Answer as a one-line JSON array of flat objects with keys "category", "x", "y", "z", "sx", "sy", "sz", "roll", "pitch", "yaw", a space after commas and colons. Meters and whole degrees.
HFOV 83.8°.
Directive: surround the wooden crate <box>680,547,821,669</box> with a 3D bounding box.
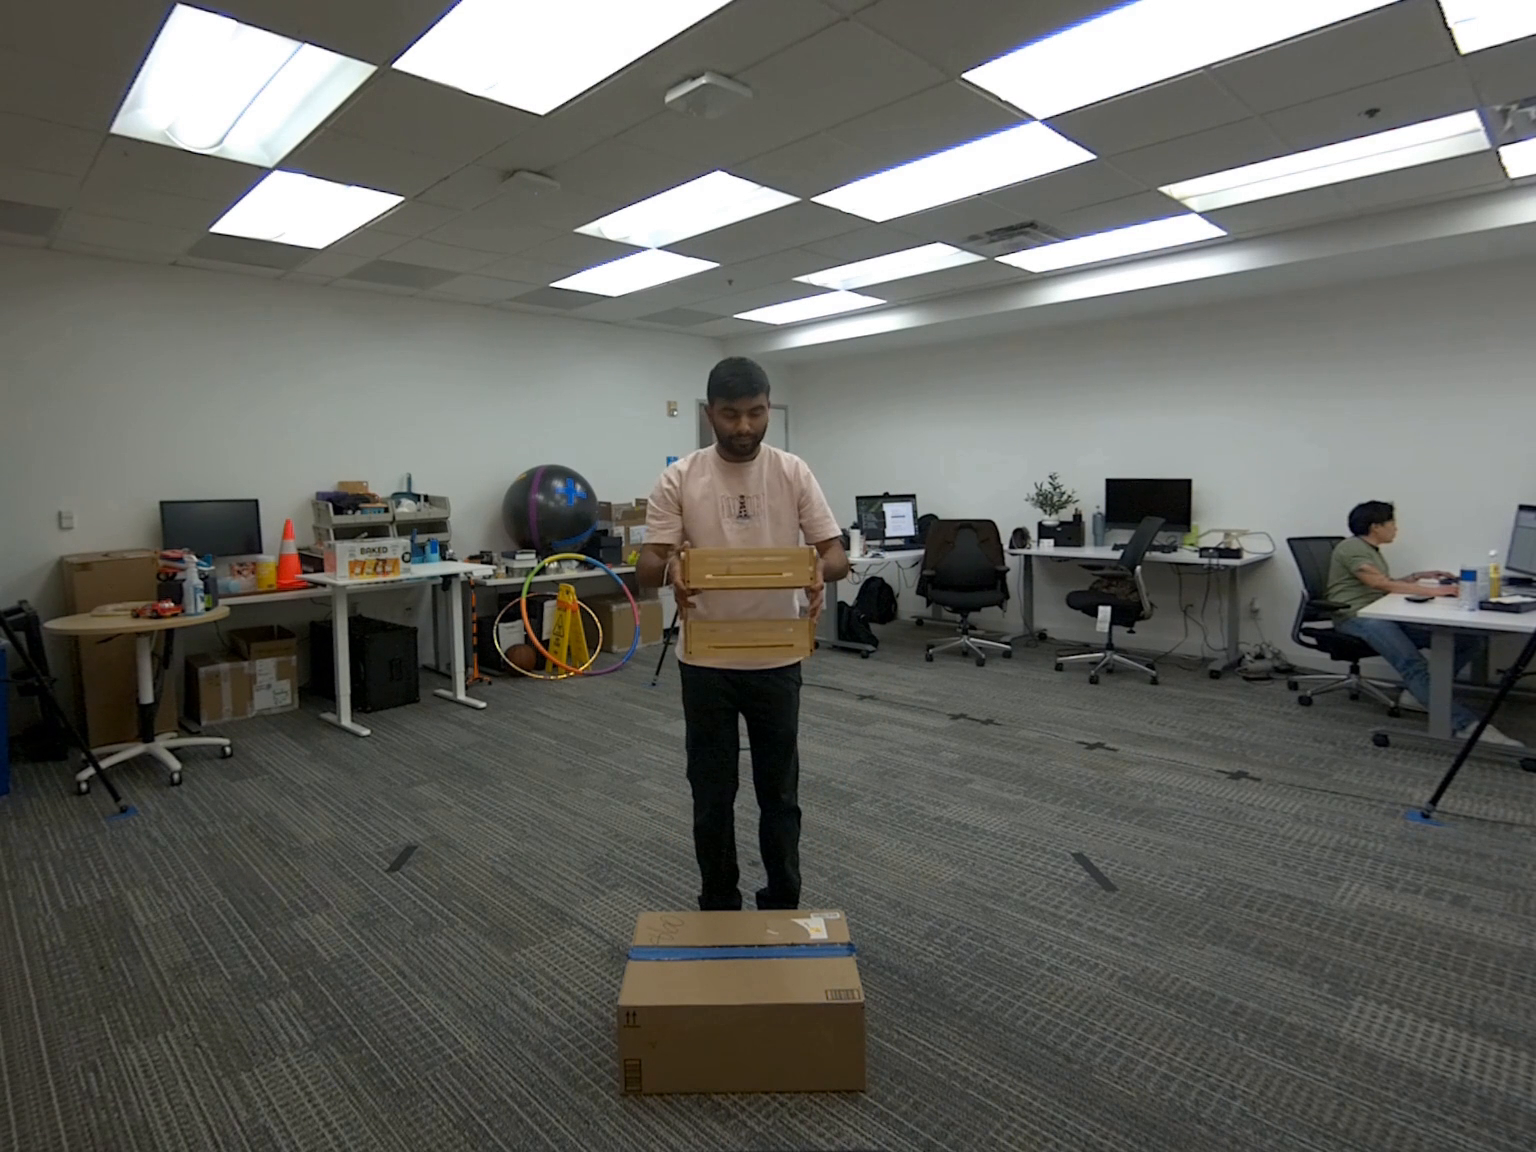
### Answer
[{"category": "wooden crate", "x": -0.047, "y": 0.069, "z": 2.138, "sx": 0.324, "sy": 0.274, "sz": 0.301, "roll": -1, "pitch": -3, "yaw": -2}]
